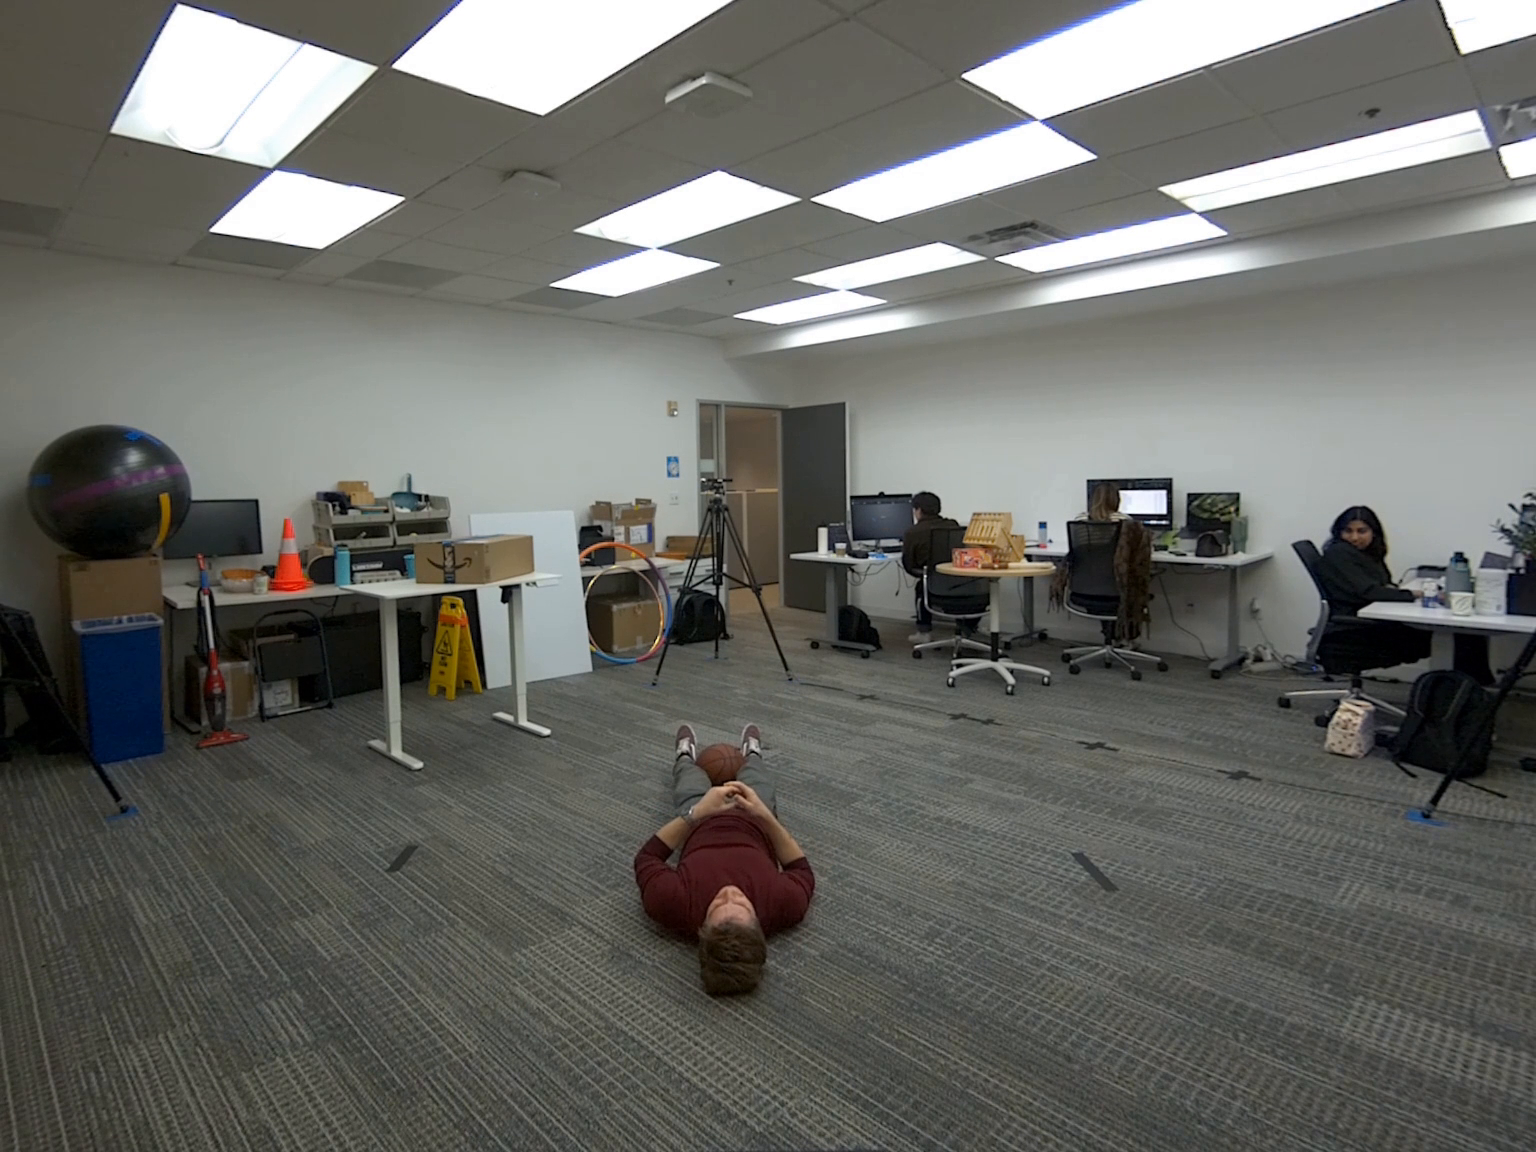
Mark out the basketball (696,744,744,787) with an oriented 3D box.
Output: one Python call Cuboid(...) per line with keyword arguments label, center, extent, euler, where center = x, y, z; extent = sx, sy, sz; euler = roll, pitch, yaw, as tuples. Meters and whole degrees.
Cuboid(label="basketball", center=(-0.206, 0.852, 3.748), extent=(0.236, 0.235, 0.237), euler=(-1, 5, -2))
